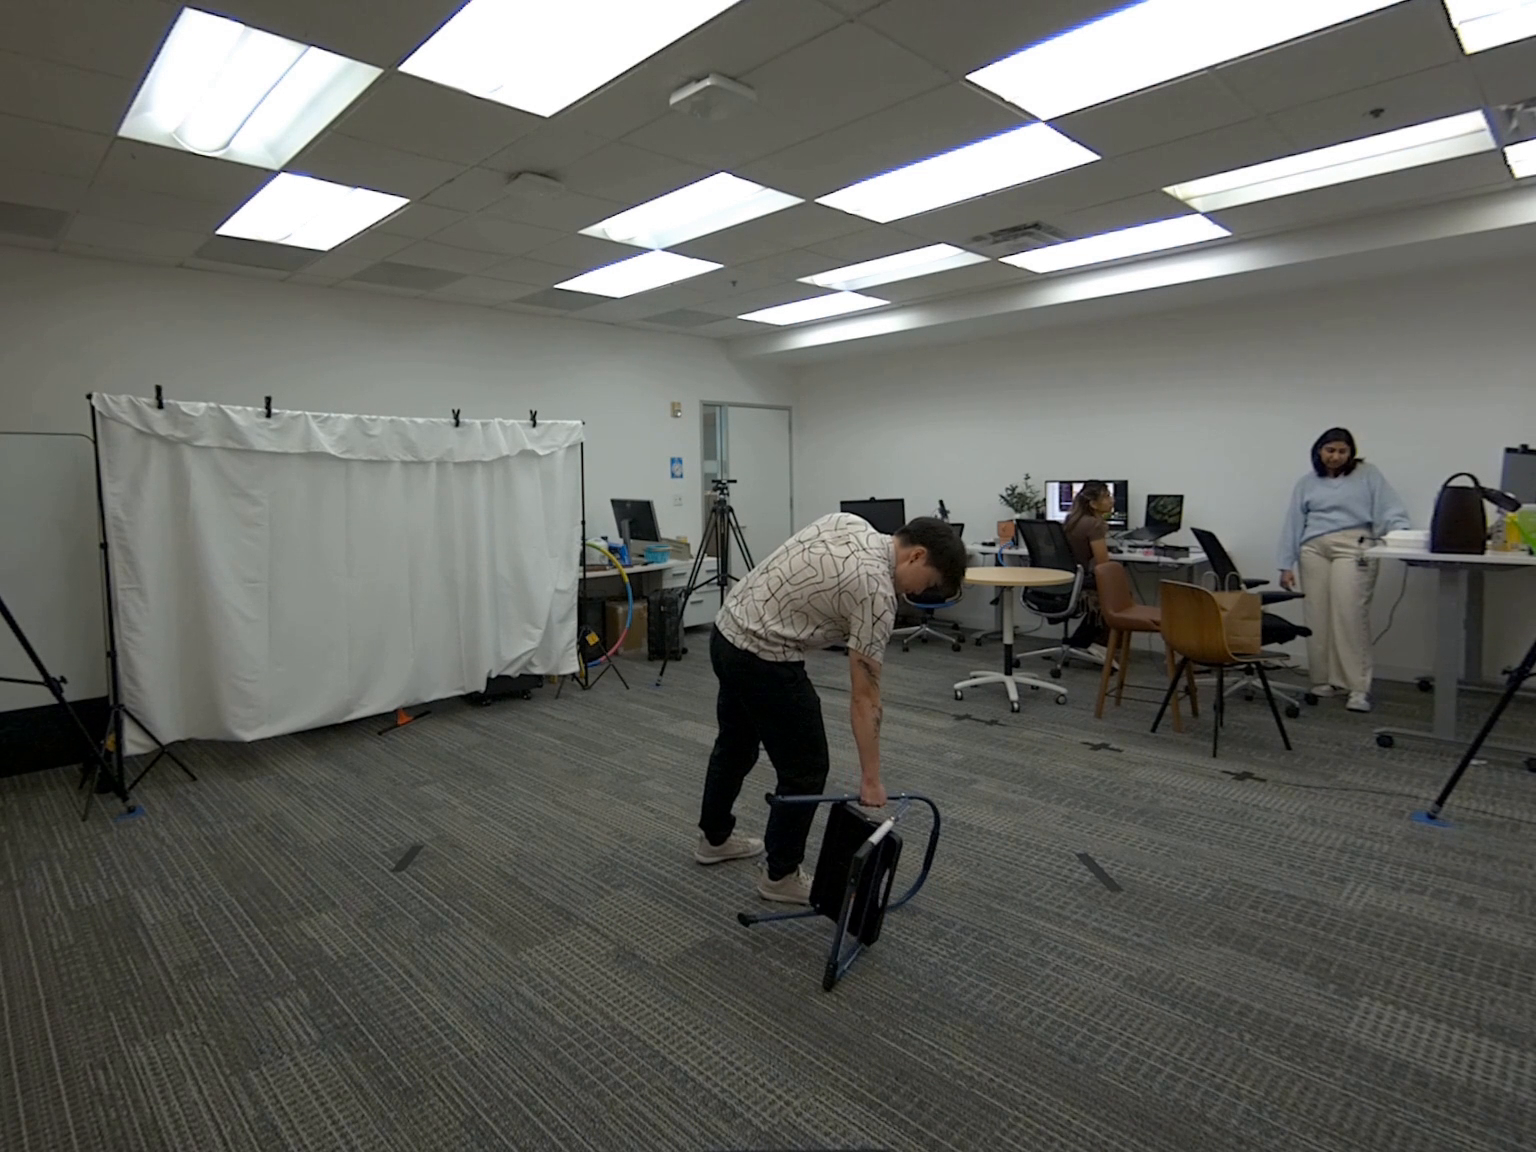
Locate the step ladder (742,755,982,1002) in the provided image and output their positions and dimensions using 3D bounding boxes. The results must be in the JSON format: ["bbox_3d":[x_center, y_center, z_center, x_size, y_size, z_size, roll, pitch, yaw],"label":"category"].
[{"bbox_3d":[0.291,0.874,2.602,0.362,0.427,0.589,22,16,40],"label":"step ladder"}]
